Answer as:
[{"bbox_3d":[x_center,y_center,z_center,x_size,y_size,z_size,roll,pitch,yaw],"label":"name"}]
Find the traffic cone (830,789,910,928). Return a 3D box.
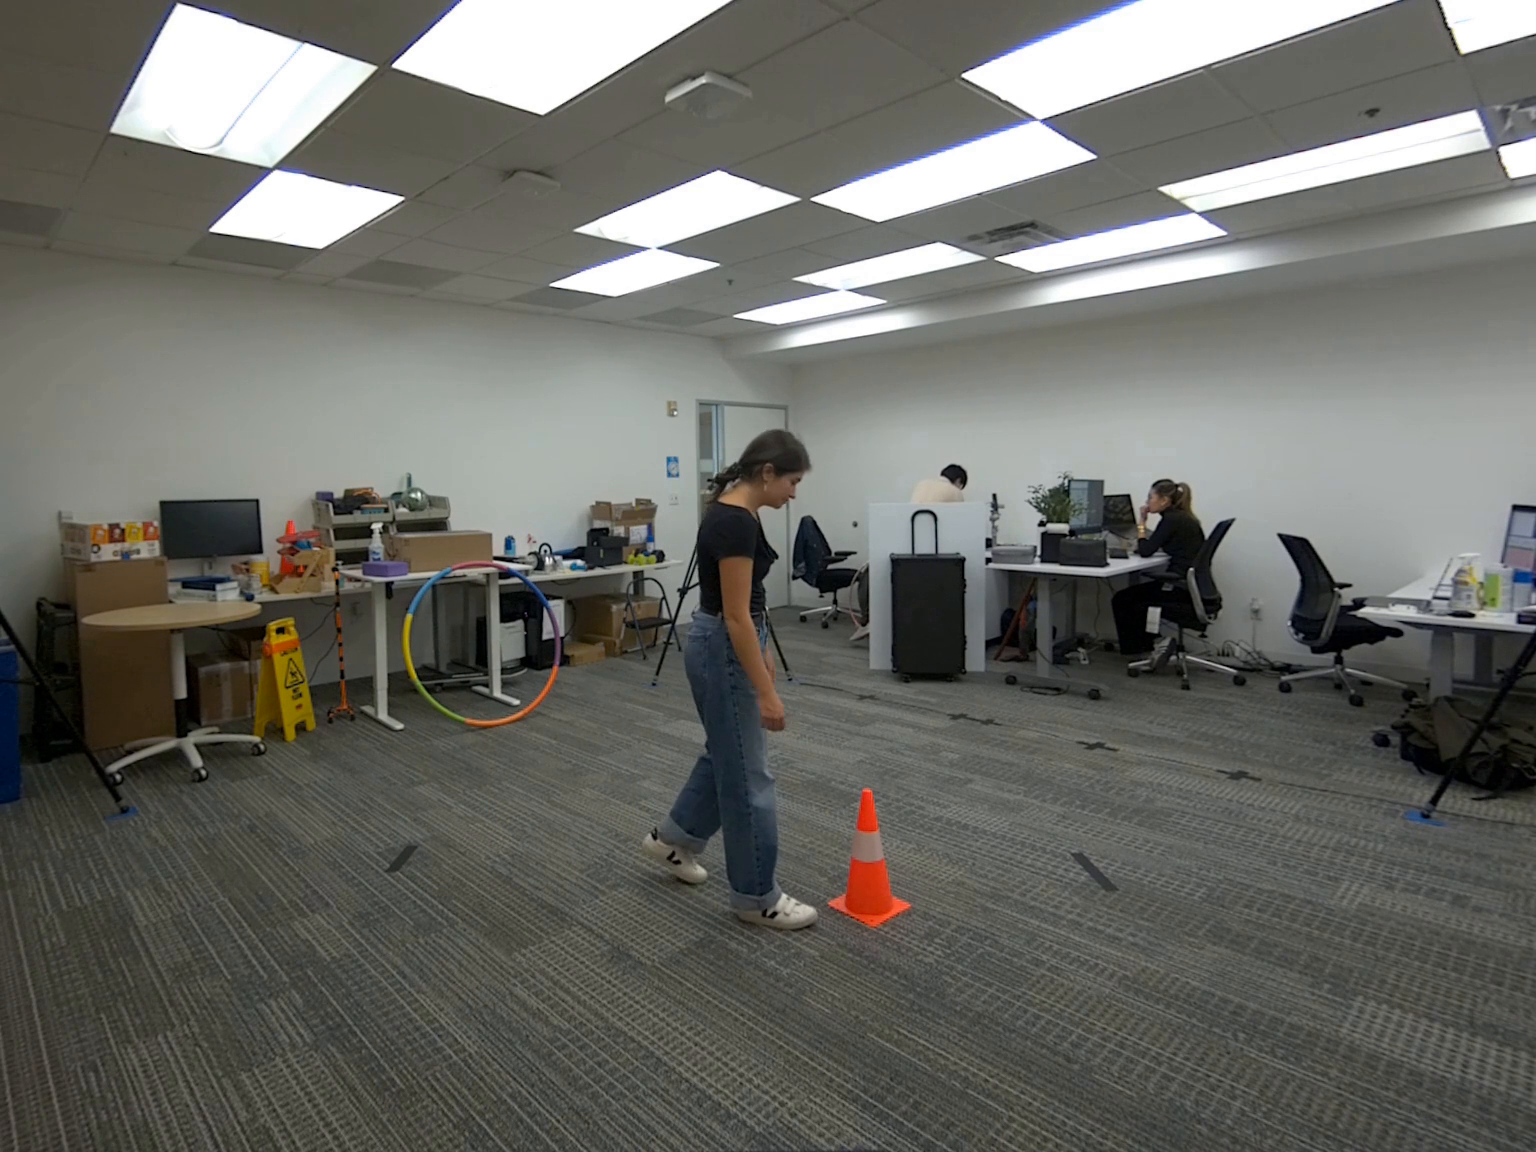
[{"bbox_3d":[0.320,0.884,2.785,0.198,0.383,0.211,0,3,-38],"label":"traffic cone"}]
